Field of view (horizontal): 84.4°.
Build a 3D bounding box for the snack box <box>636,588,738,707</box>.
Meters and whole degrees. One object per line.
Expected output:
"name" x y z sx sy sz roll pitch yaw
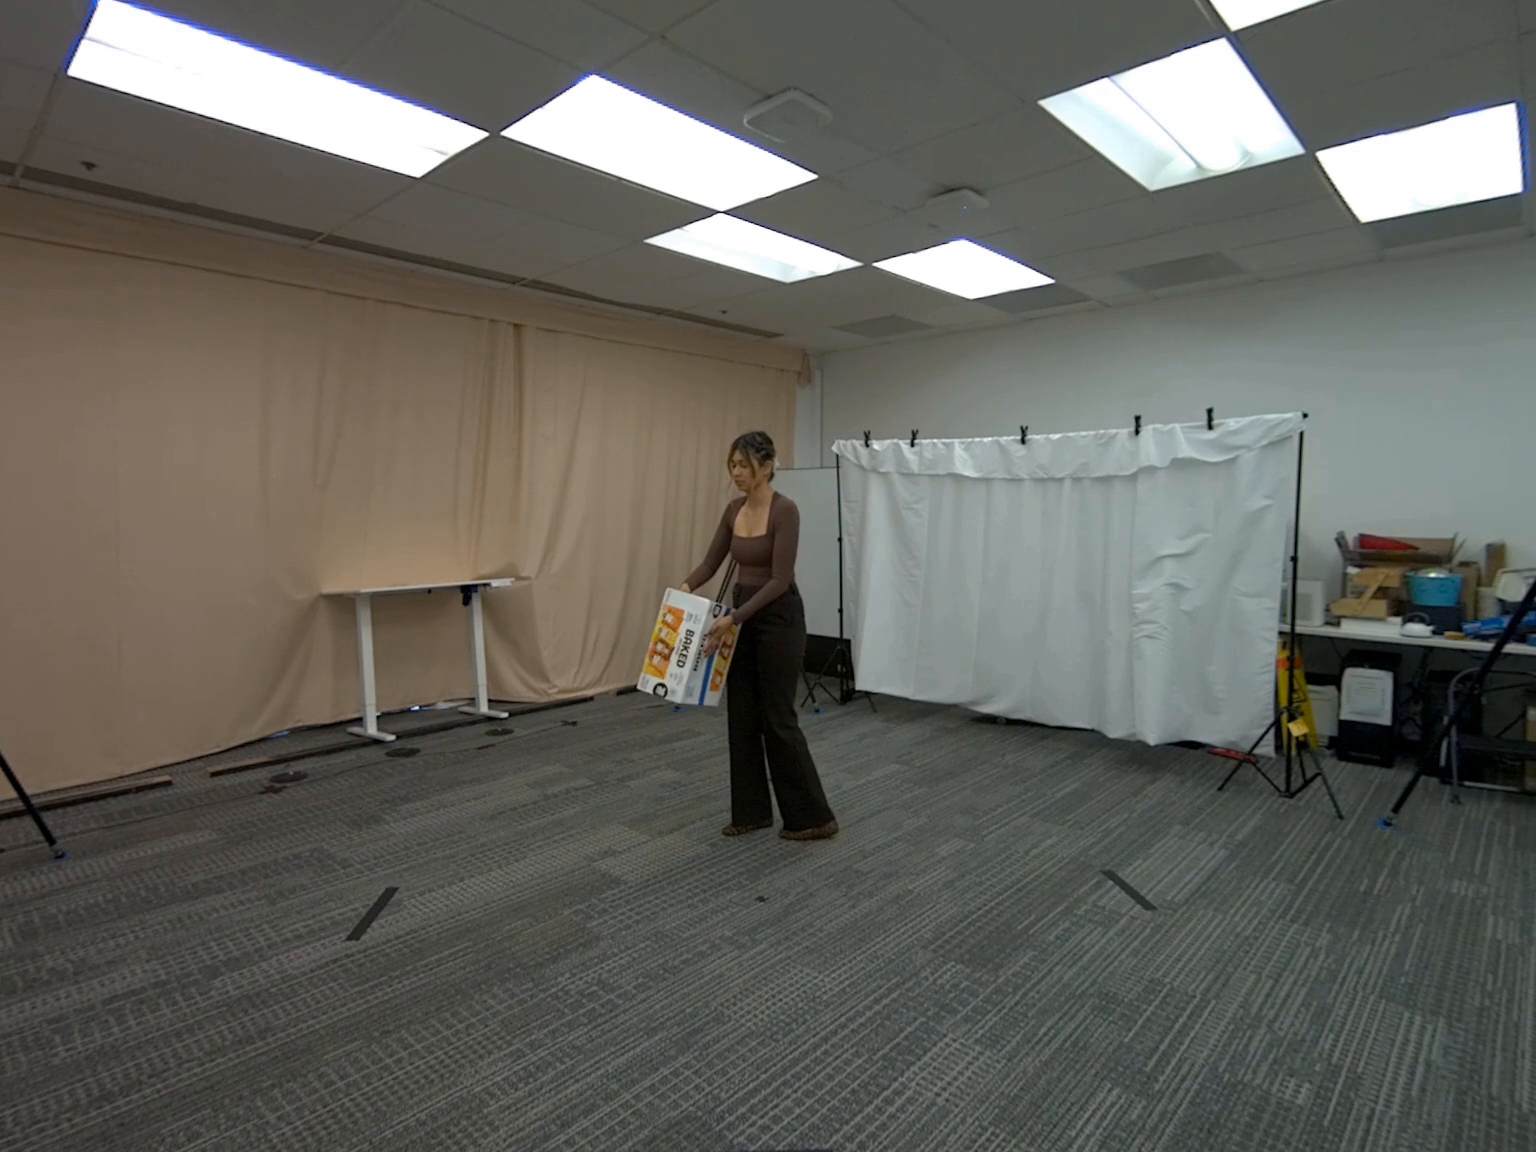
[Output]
"snack box" -0.303 0.292 3.362 0.211 0.405 0.330 15 -4 25
